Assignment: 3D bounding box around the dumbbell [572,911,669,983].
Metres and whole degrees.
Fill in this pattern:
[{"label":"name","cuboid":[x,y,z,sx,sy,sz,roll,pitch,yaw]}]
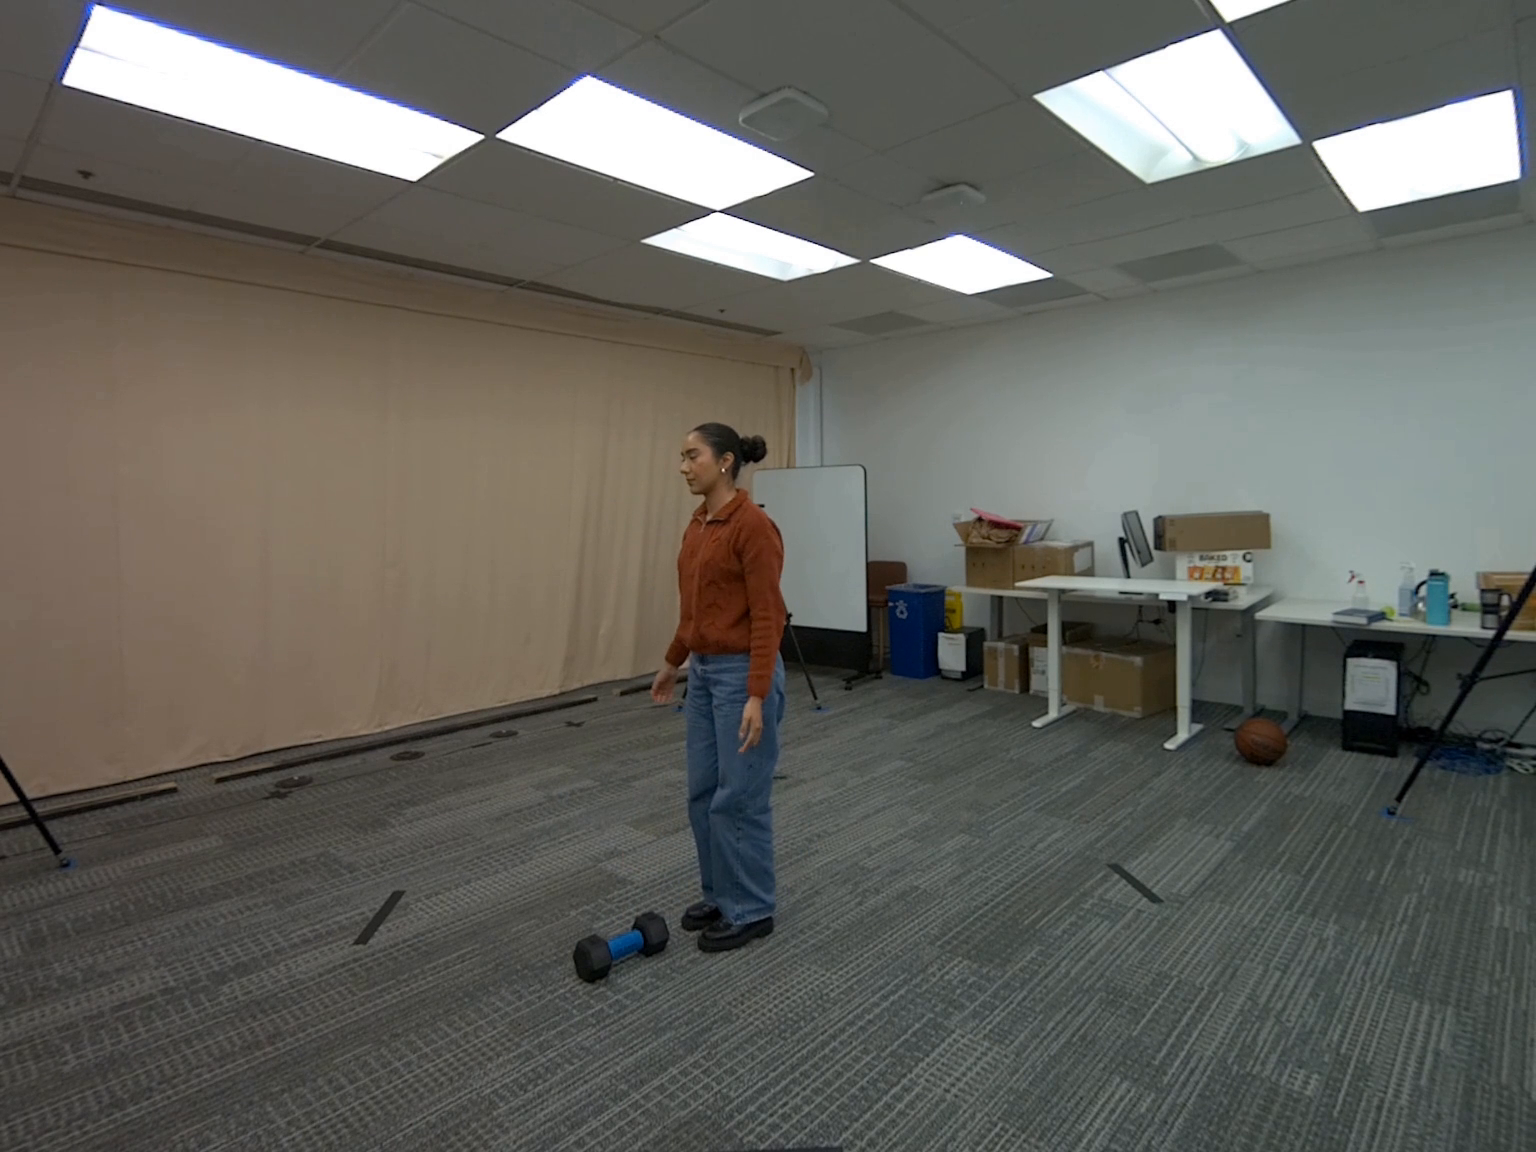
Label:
[{"label":"dumbbell","cuboid":[-0.447,1.131,2.570,0.285,0.122,0.112,-5,36,-41]}]
